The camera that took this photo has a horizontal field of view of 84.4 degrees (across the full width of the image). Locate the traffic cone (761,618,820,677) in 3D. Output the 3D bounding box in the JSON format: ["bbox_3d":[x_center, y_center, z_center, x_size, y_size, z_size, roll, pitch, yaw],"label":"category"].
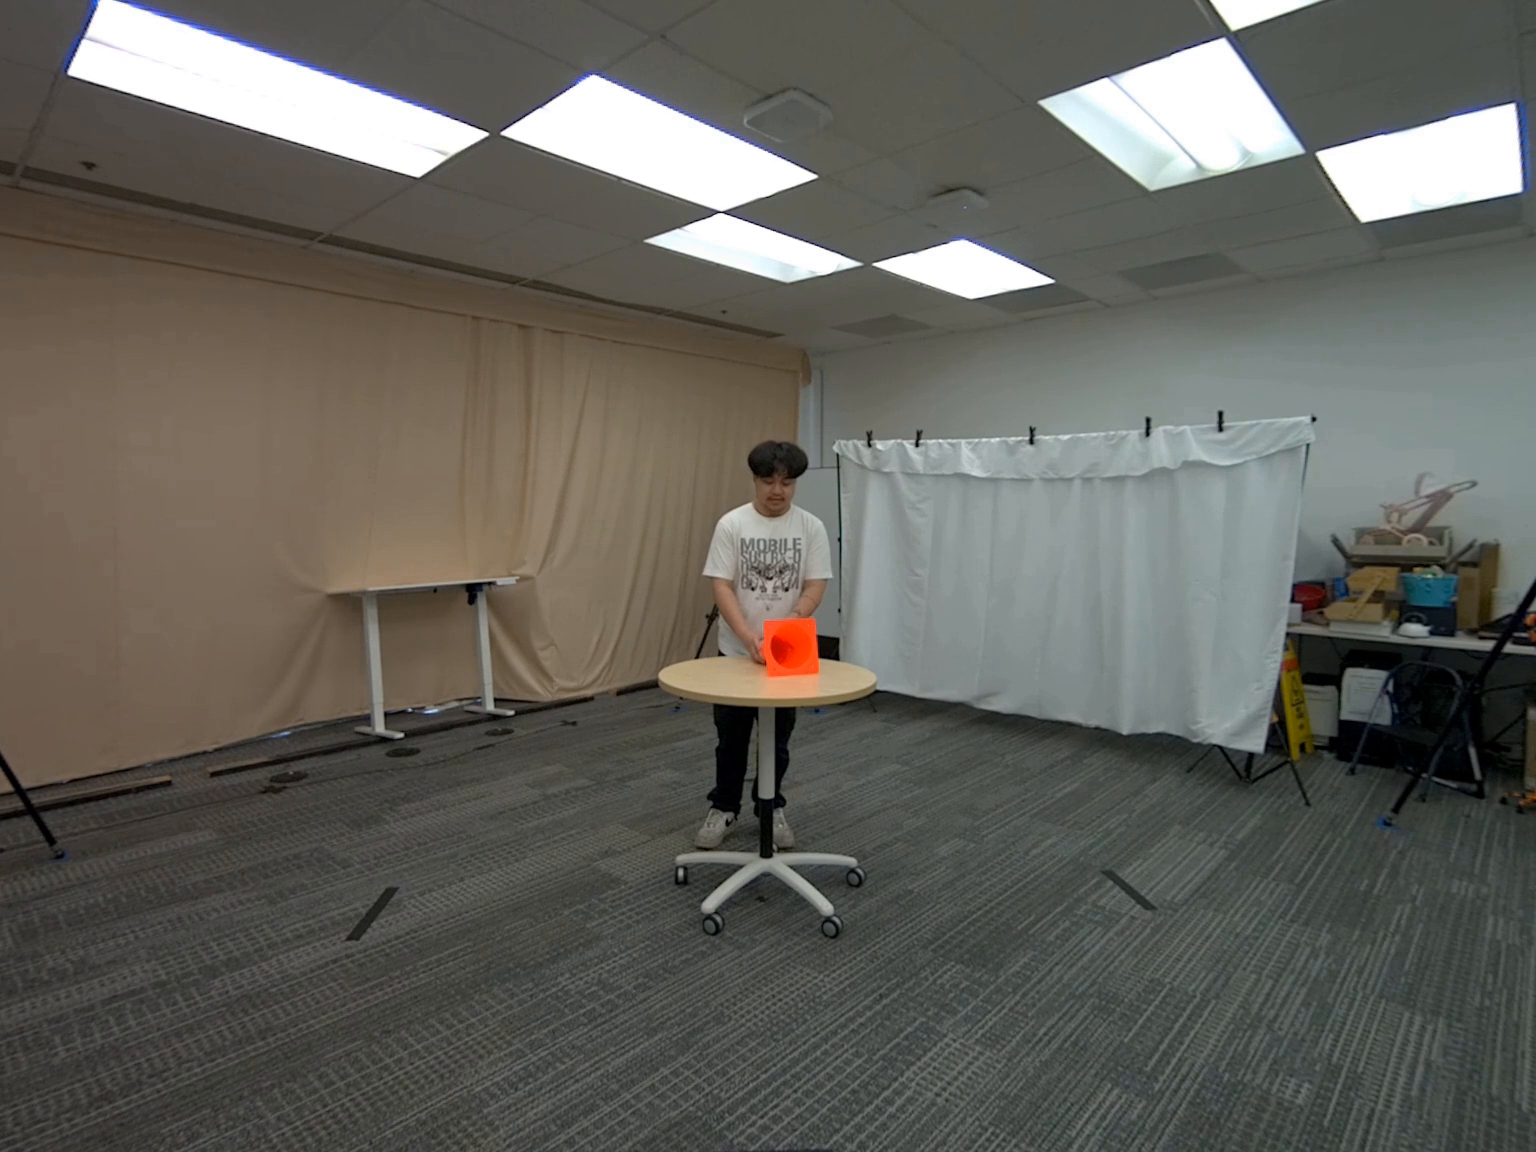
[{"bbox_3d":[0.011,0.274,3.151,0.200,0.206,0.388,-5,-5,-17],"label":"traffic cone"}]
